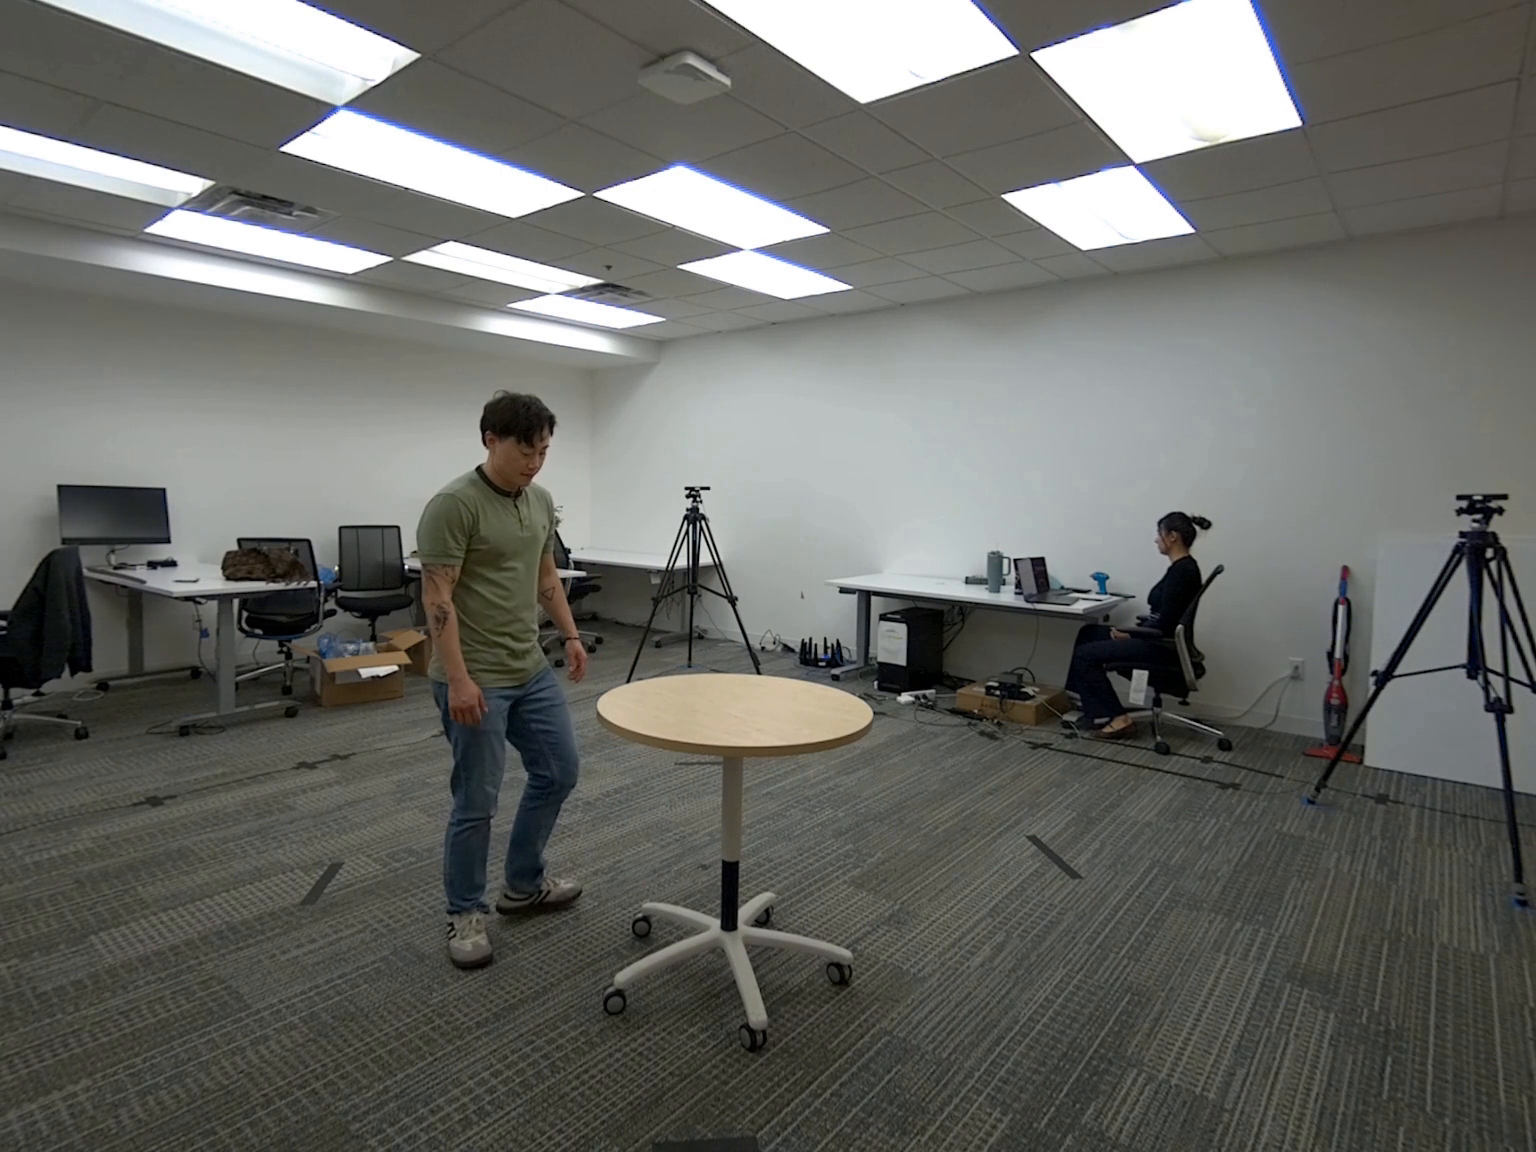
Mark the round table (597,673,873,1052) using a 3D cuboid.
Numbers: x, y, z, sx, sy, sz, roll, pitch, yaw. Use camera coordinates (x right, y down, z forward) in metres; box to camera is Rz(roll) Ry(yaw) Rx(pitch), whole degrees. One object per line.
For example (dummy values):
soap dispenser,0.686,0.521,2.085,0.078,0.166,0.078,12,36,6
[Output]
round table,-0.118,0.751,2.400,0.763,0.791,0.768,1,5,-2
